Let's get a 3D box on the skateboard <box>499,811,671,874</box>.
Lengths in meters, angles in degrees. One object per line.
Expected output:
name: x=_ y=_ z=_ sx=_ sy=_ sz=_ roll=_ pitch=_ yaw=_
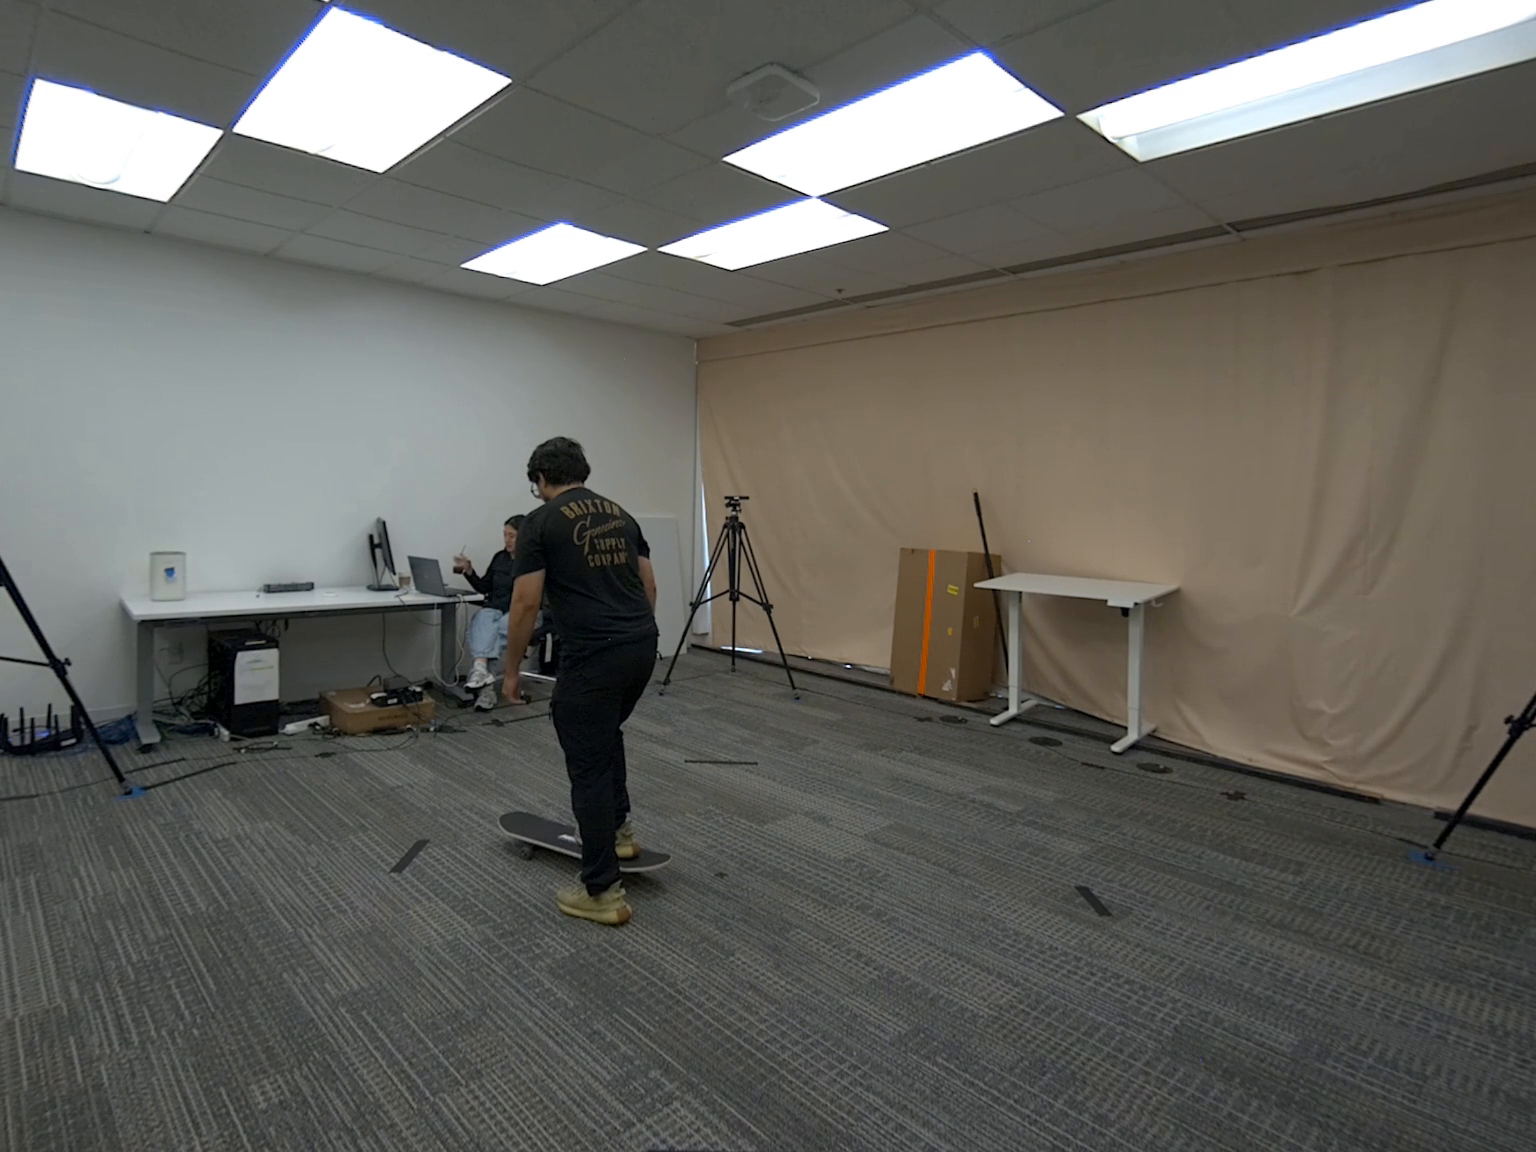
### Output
skateboard: x=-0.712 y=1.033 z=3.162 sx=0.803 sy=0.110 sz=0.189 roll=5 pitch=5 yaw=30
